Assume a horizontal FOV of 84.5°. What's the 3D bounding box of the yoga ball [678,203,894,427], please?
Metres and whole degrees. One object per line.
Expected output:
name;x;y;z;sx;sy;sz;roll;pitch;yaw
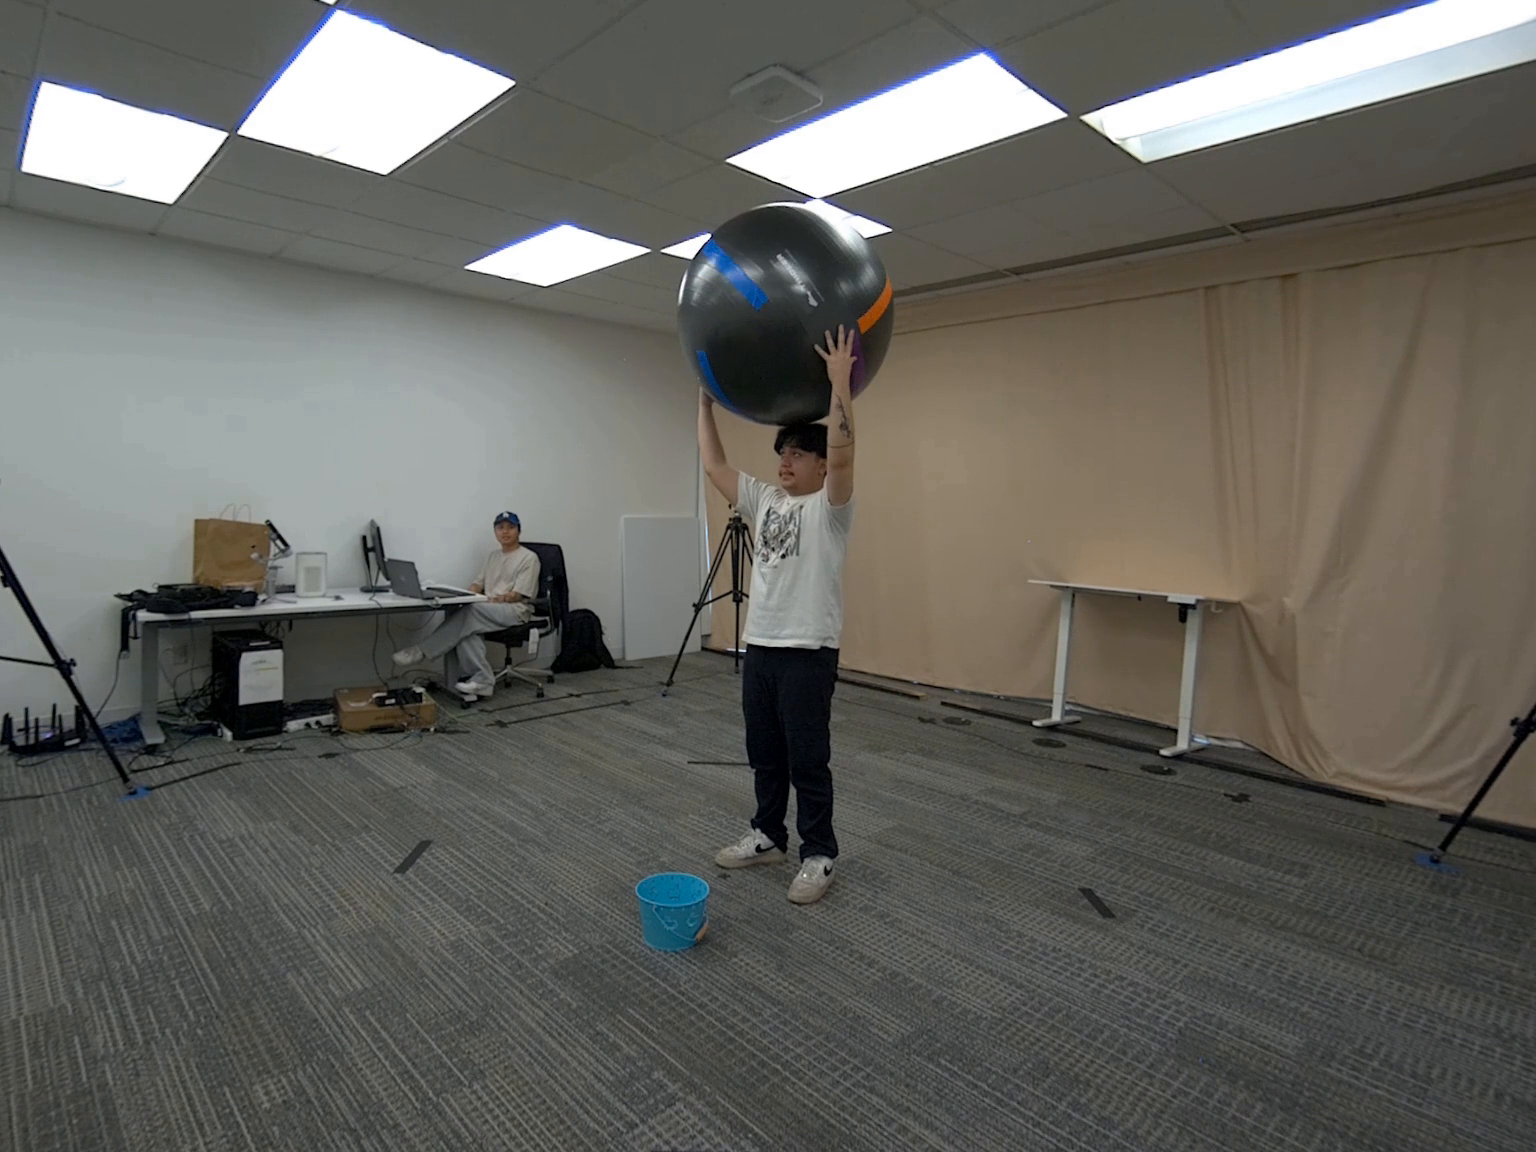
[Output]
yoga ball;0.053;-0.908;2.970;0.757;0.756;0.760;1;4;-1
